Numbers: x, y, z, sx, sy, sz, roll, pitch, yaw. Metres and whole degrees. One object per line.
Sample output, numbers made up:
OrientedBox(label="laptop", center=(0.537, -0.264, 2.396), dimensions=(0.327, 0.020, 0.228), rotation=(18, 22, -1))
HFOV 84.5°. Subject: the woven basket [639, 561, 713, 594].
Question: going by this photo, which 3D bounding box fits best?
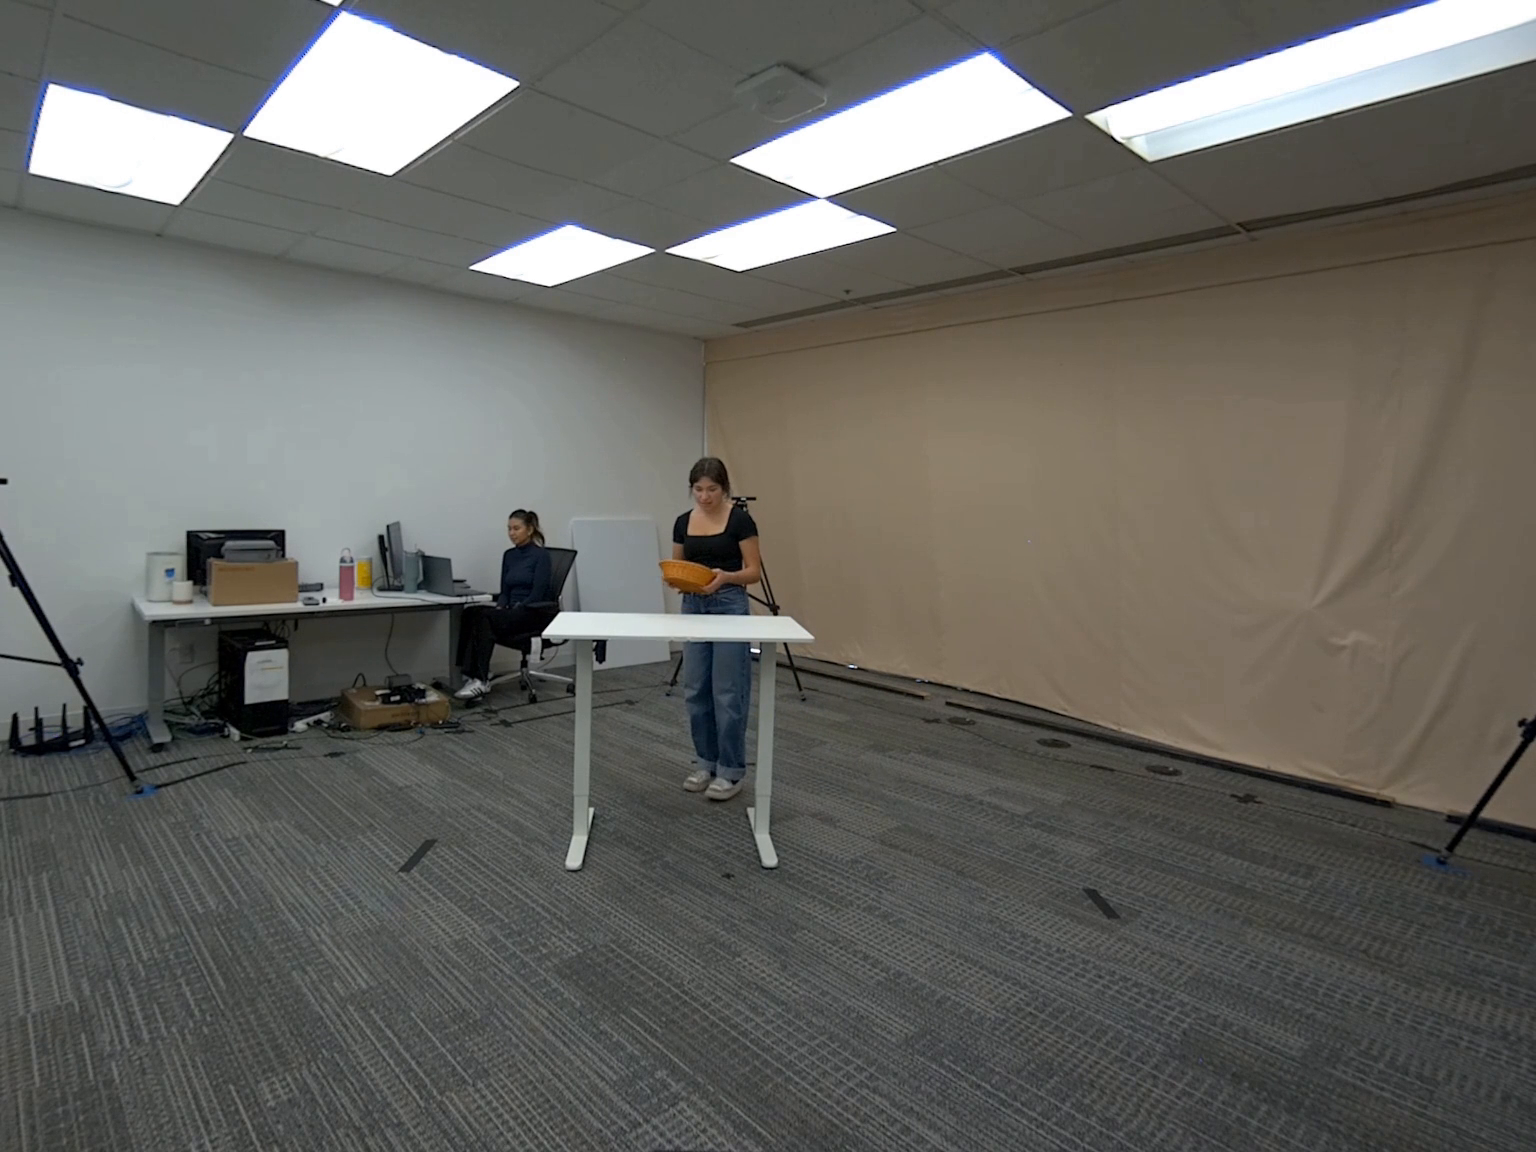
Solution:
OrientedBox(label="woven basket", center=(-0.366, 0.011, 3.787), dimensions=(0.258, 0.074, 0.340), rotation=(2, -12, 32))
